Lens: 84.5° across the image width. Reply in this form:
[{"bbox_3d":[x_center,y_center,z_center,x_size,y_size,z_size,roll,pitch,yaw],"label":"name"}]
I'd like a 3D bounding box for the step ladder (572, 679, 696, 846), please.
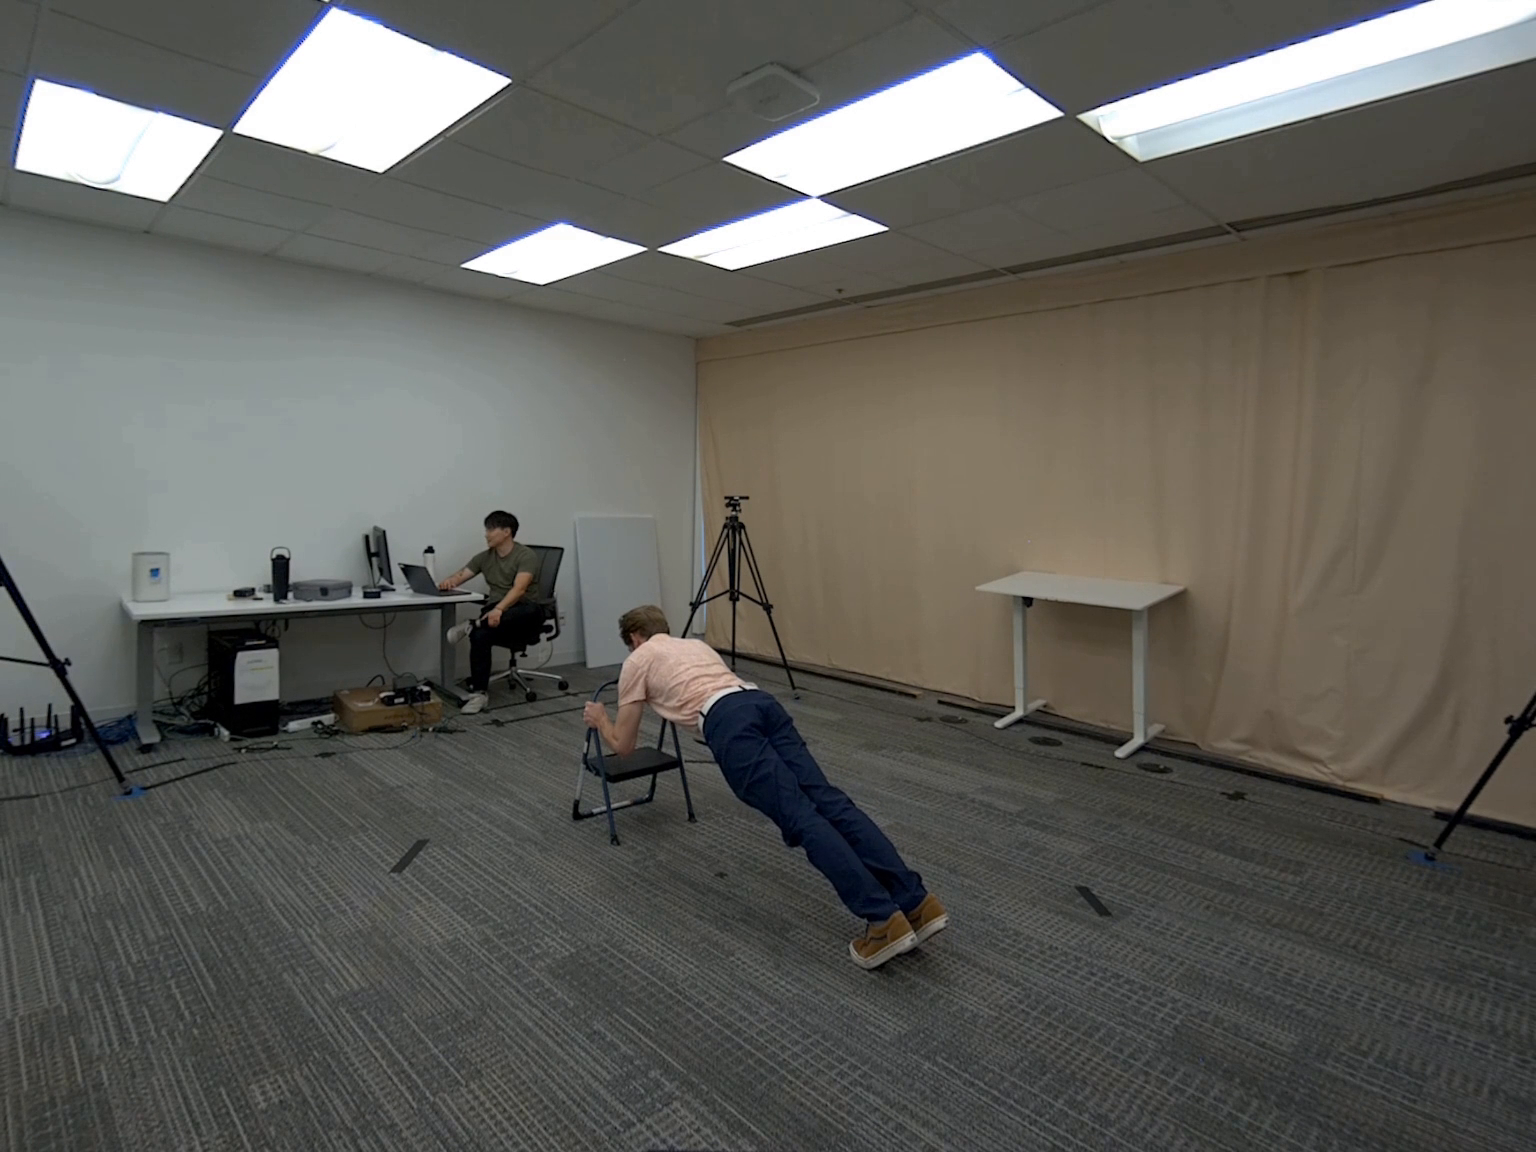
[{"bbox_3d":[-0.576,0.751,3.596,0.421,0.605,0.358,-2,4,-43],"label":"step ladder"}]
